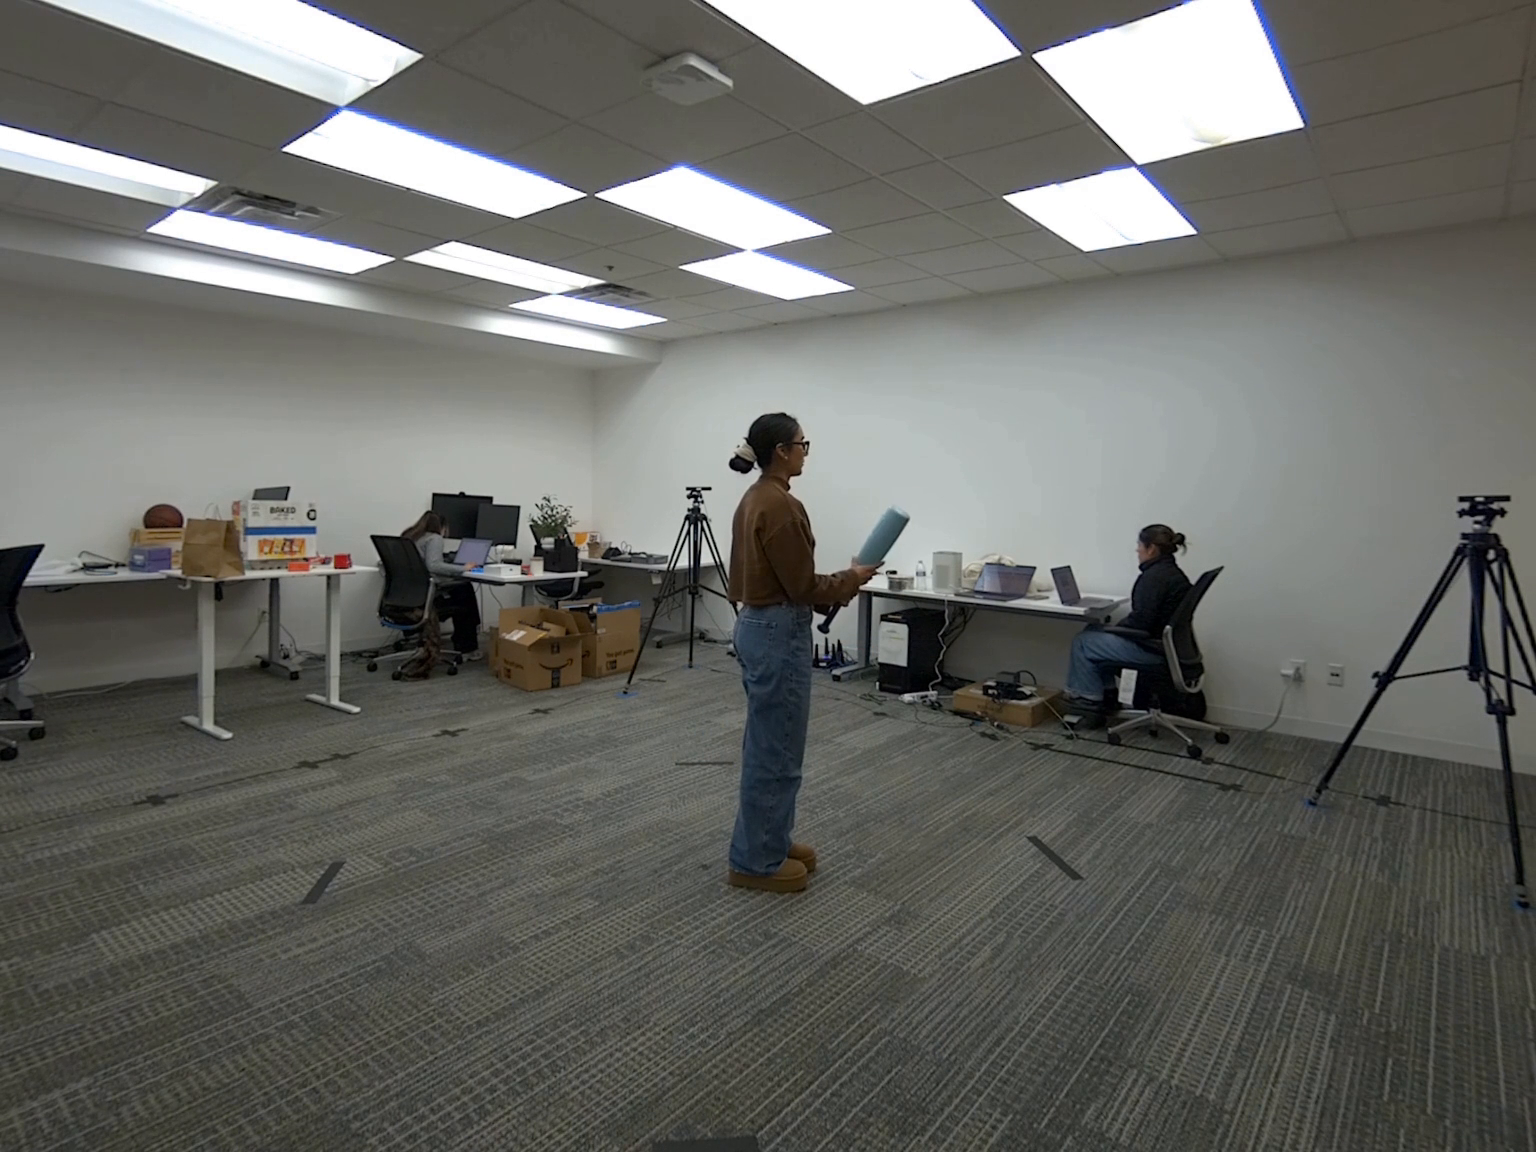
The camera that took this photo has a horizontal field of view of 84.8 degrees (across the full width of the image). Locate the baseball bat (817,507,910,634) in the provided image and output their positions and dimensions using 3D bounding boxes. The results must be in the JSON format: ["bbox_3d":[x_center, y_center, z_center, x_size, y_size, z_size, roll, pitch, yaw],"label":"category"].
[{"bbox_3d":[0.328,-0.006,3.071,0.088,0.540,0.091,27,20,-13],"label":"baseball bat"}]
